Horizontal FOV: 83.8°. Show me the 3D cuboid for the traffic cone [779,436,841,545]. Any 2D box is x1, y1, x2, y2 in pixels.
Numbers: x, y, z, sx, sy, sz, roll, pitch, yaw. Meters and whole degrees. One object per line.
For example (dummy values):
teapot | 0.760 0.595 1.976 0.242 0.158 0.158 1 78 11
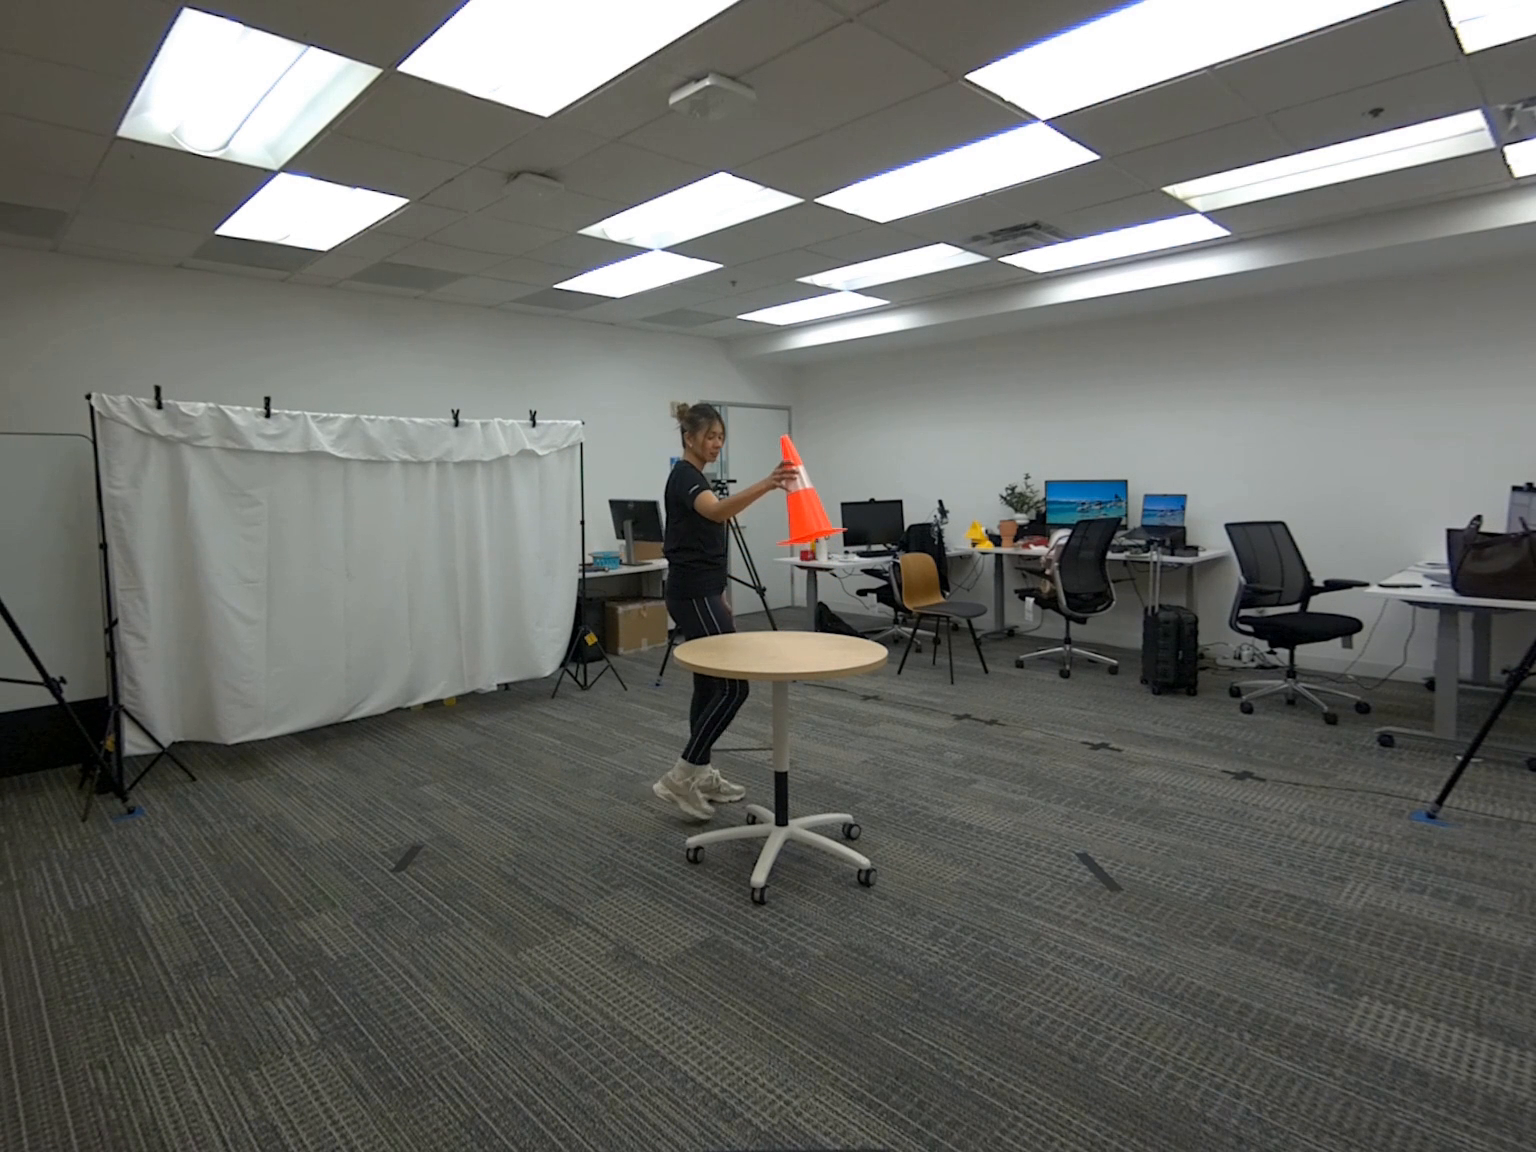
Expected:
traffic cone | 0.113 -0.319 3.080 0.208 0.387 0.198 -18 -10 34
